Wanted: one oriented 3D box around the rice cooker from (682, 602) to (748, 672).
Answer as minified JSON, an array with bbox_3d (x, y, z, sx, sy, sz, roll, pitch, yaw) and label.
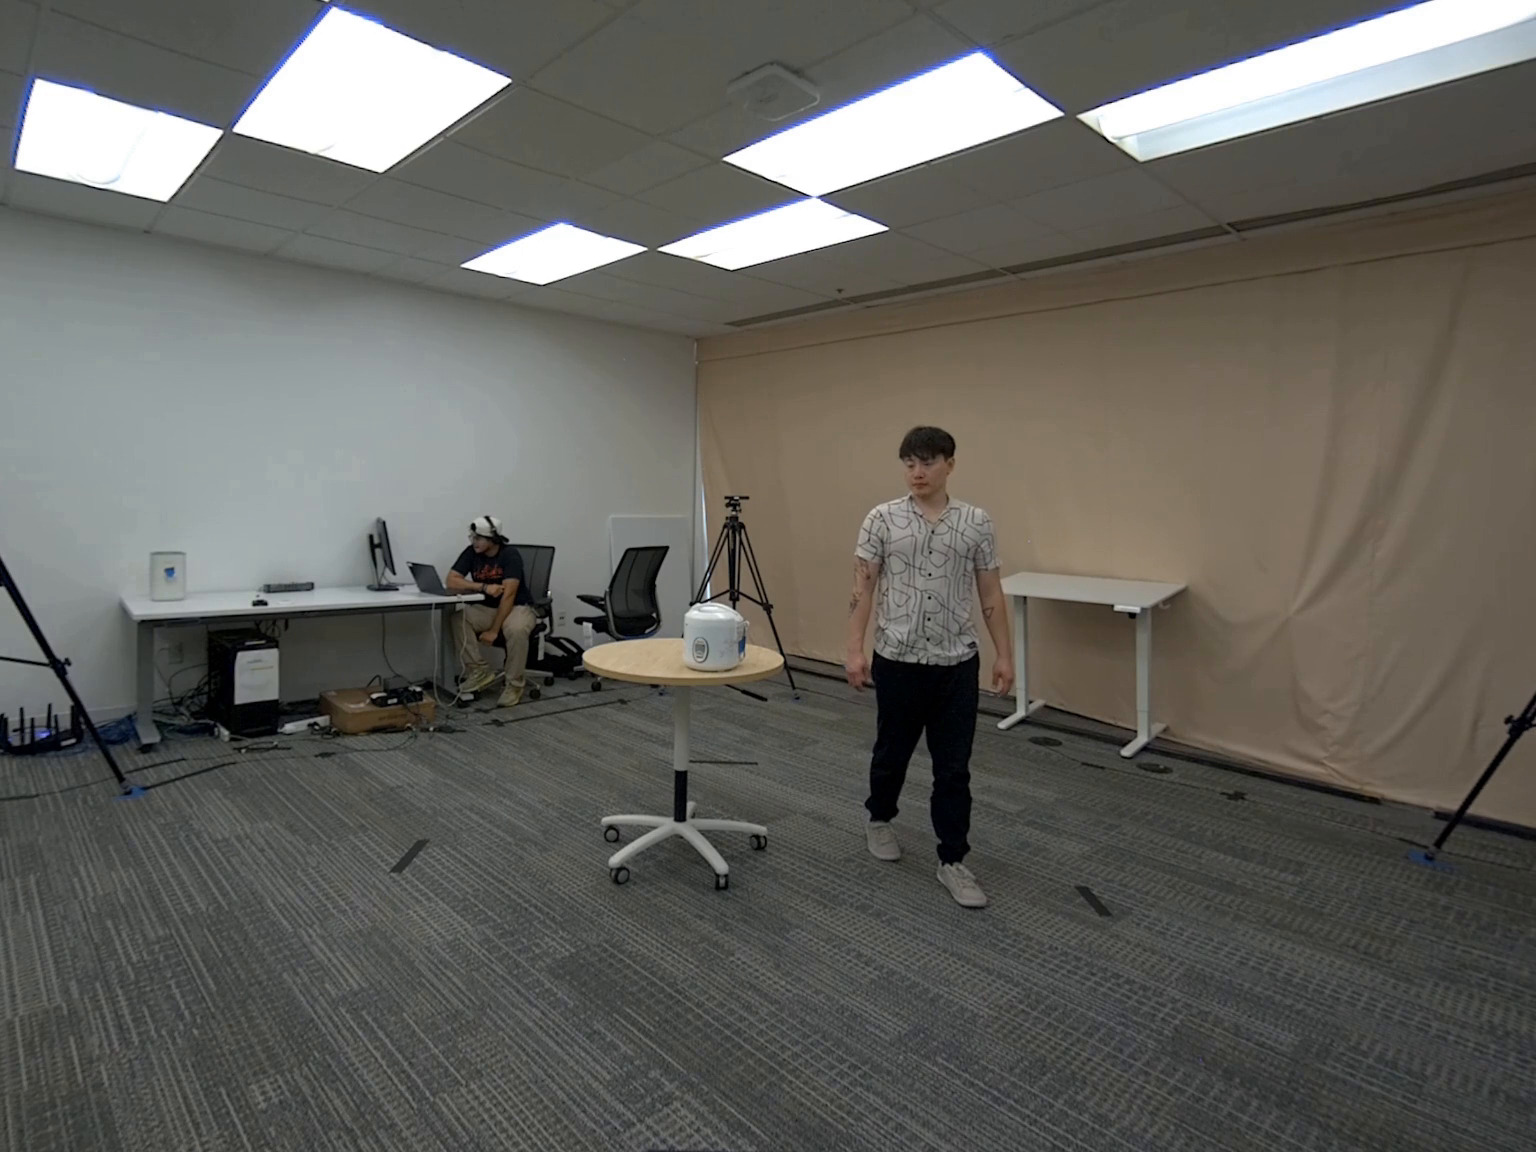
[{"bbox_3d":[-0.201,0.212,3.013,0.224,0.232,0.214,3,4,20],"label":"rice cooker"}]
